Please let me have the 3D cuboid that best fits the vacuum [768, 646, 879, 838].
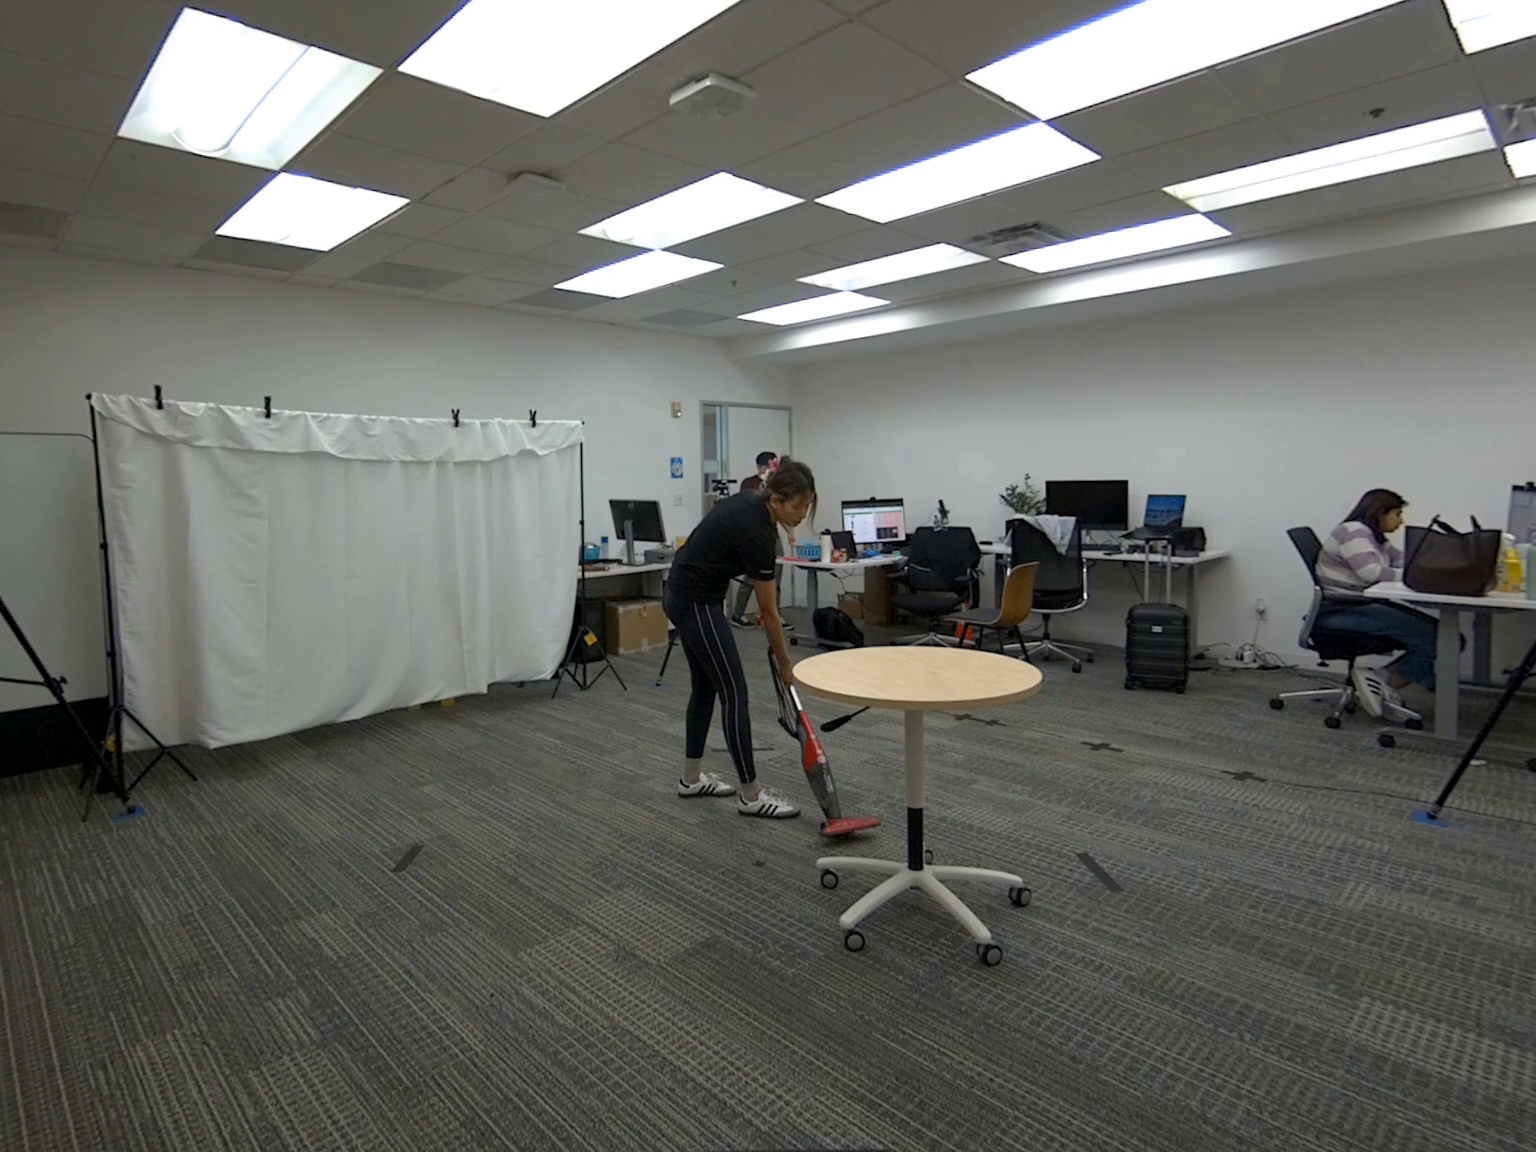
[{"bbox_3d":[0.132,0.610,3.641,0.247,0.142,1.087,-2,47,-25],"label":"vacuum"}]
